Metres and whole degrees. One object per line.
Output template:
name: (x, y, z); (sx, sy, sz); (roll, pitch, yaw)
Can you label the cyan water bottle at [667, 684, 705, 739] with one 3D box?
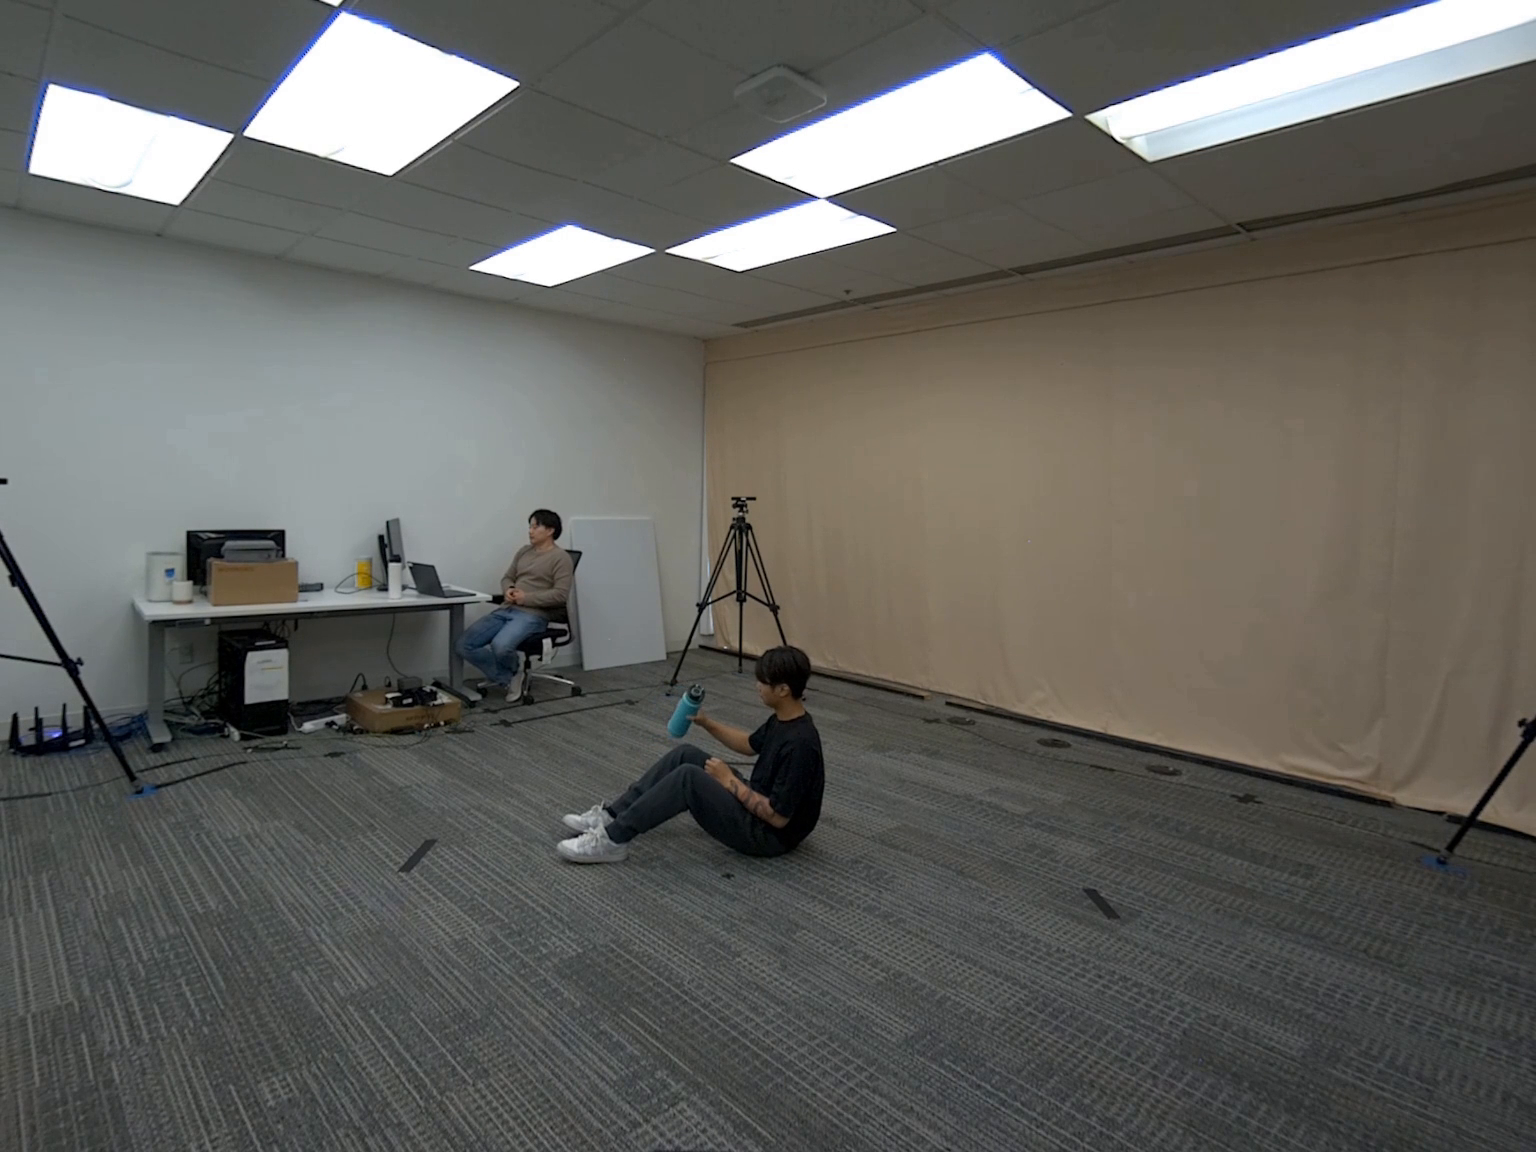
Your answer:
cyan water bottle: (-0.358, 0.579, 3.627); (0.091, 0.281, 0.094); (17, 32, -13)
